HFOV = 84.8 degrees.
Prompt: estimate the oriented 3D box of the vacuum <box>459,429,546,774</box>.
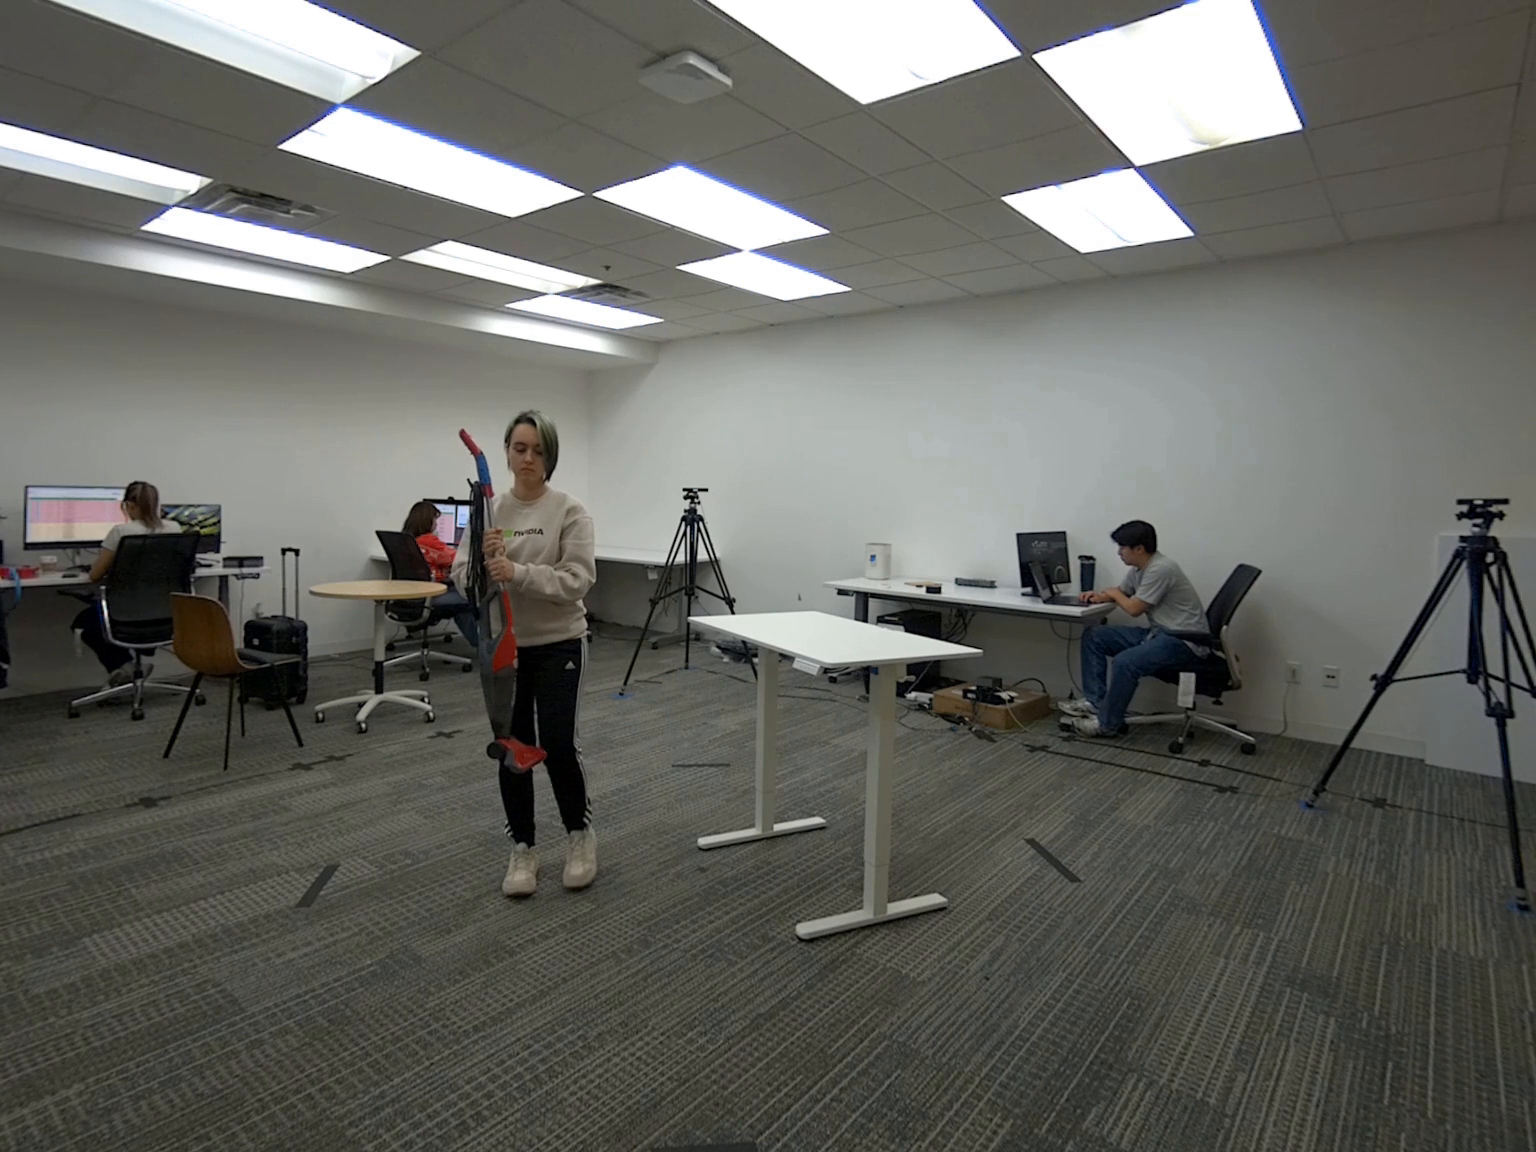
[{"bbox_3d":[-0.905,0.046,2.704,0.144,1.055,0.251,-12,-4,-1],"label":"vacuum"}]
